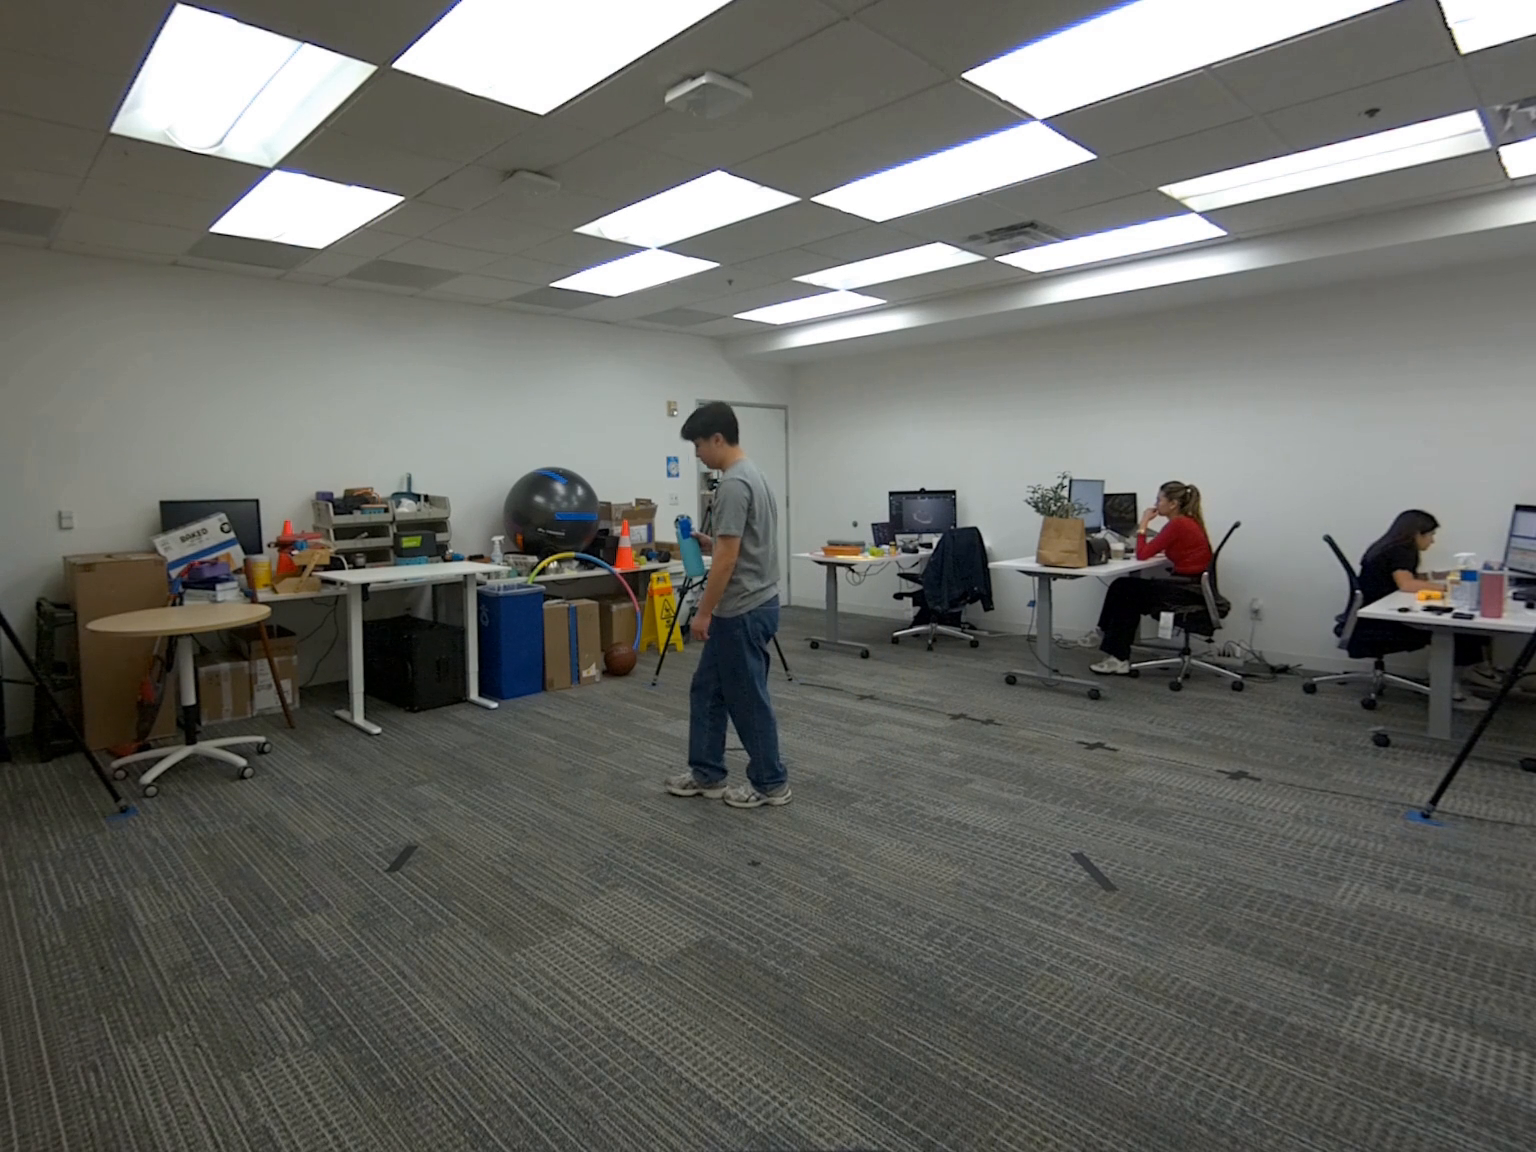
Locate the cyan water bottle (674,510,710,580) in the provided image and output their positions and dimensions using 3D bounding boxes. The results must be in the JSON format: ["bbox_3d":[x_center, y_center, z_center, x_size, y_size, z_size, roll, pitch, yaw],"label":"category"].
[{"bbox_3d":[-0.332,-0.138,3.774,0.092,0.282,0.093,-15,4,0],"label":"cyan water bottle"}]
